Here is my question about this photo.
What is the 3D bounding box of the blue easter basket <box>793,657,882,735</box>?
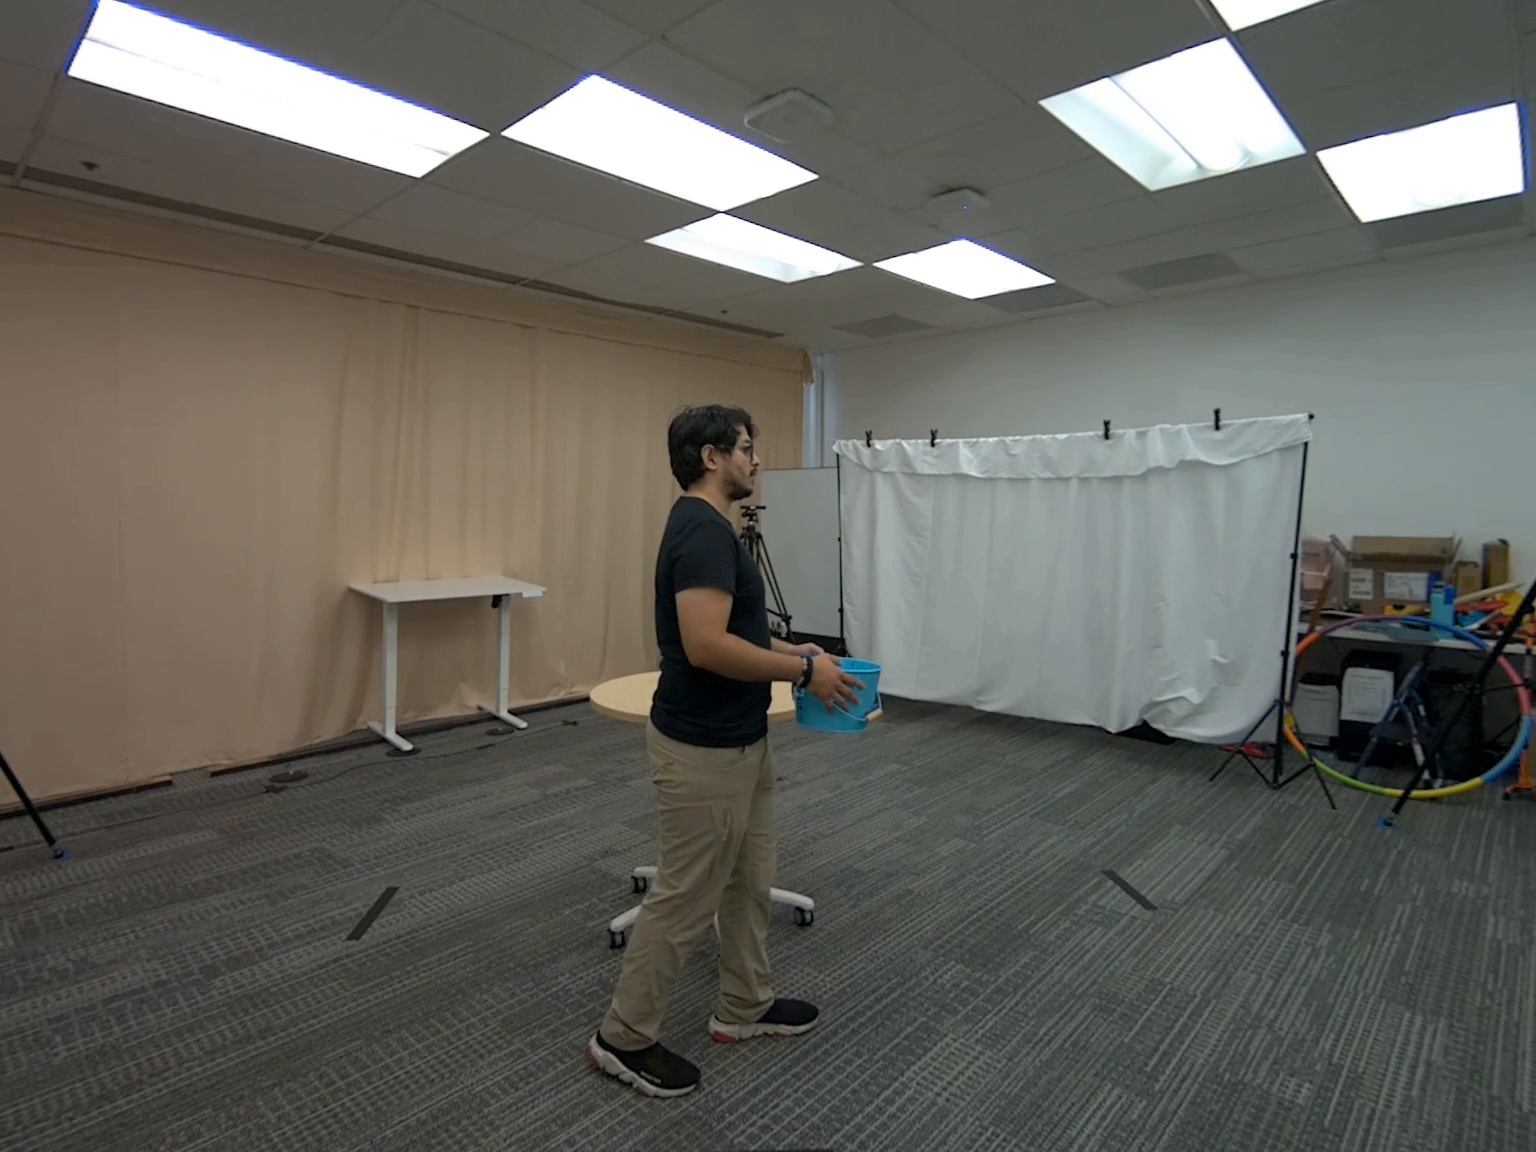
[{"bbox_3d":[0.164,0.296,2.059,0.243,0.155,0.244,0,4,-2],"label":"blue easter basket"}]
